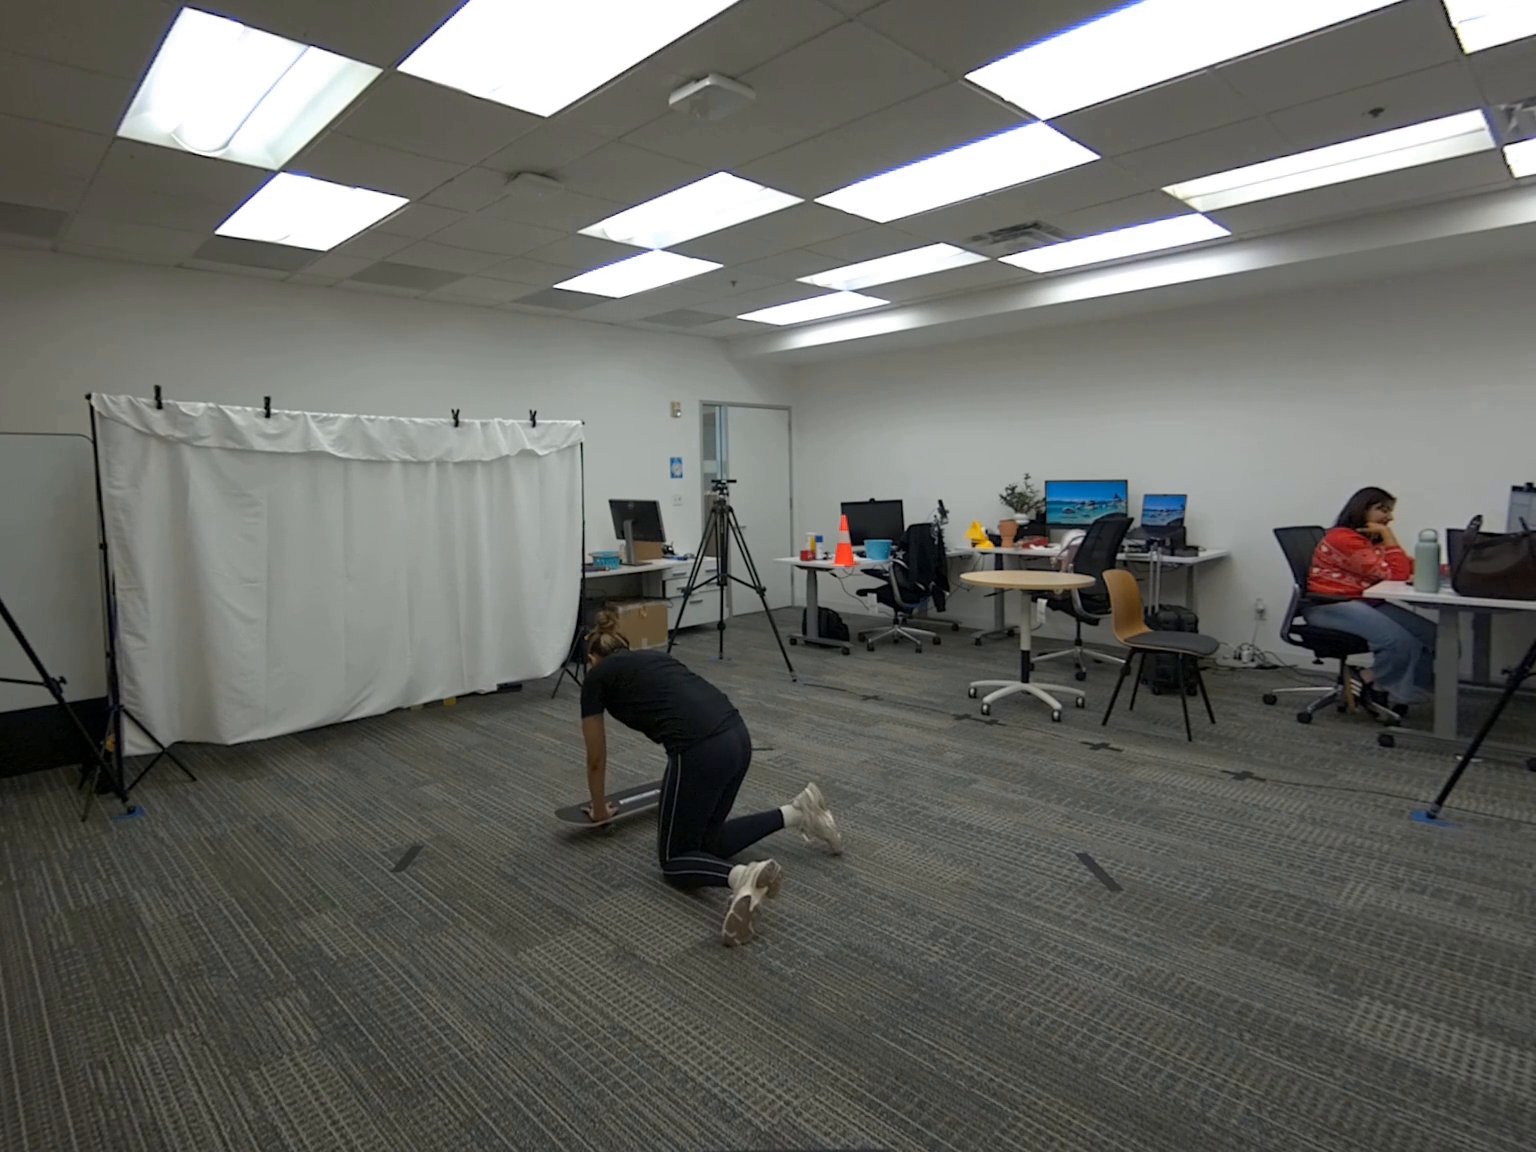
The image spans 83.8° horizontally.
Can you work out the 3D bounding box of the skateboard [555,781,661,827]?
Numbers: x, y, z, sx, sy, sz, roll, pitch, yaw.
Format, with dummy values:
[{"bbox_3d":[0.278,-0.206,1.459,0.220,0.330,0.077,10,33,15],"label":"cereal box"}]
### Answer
[{"bbox_3d":[-0.526,0.948,3.555,0.765,0.110,0.200,-6,10,-41],"label":"skateboard"}]
